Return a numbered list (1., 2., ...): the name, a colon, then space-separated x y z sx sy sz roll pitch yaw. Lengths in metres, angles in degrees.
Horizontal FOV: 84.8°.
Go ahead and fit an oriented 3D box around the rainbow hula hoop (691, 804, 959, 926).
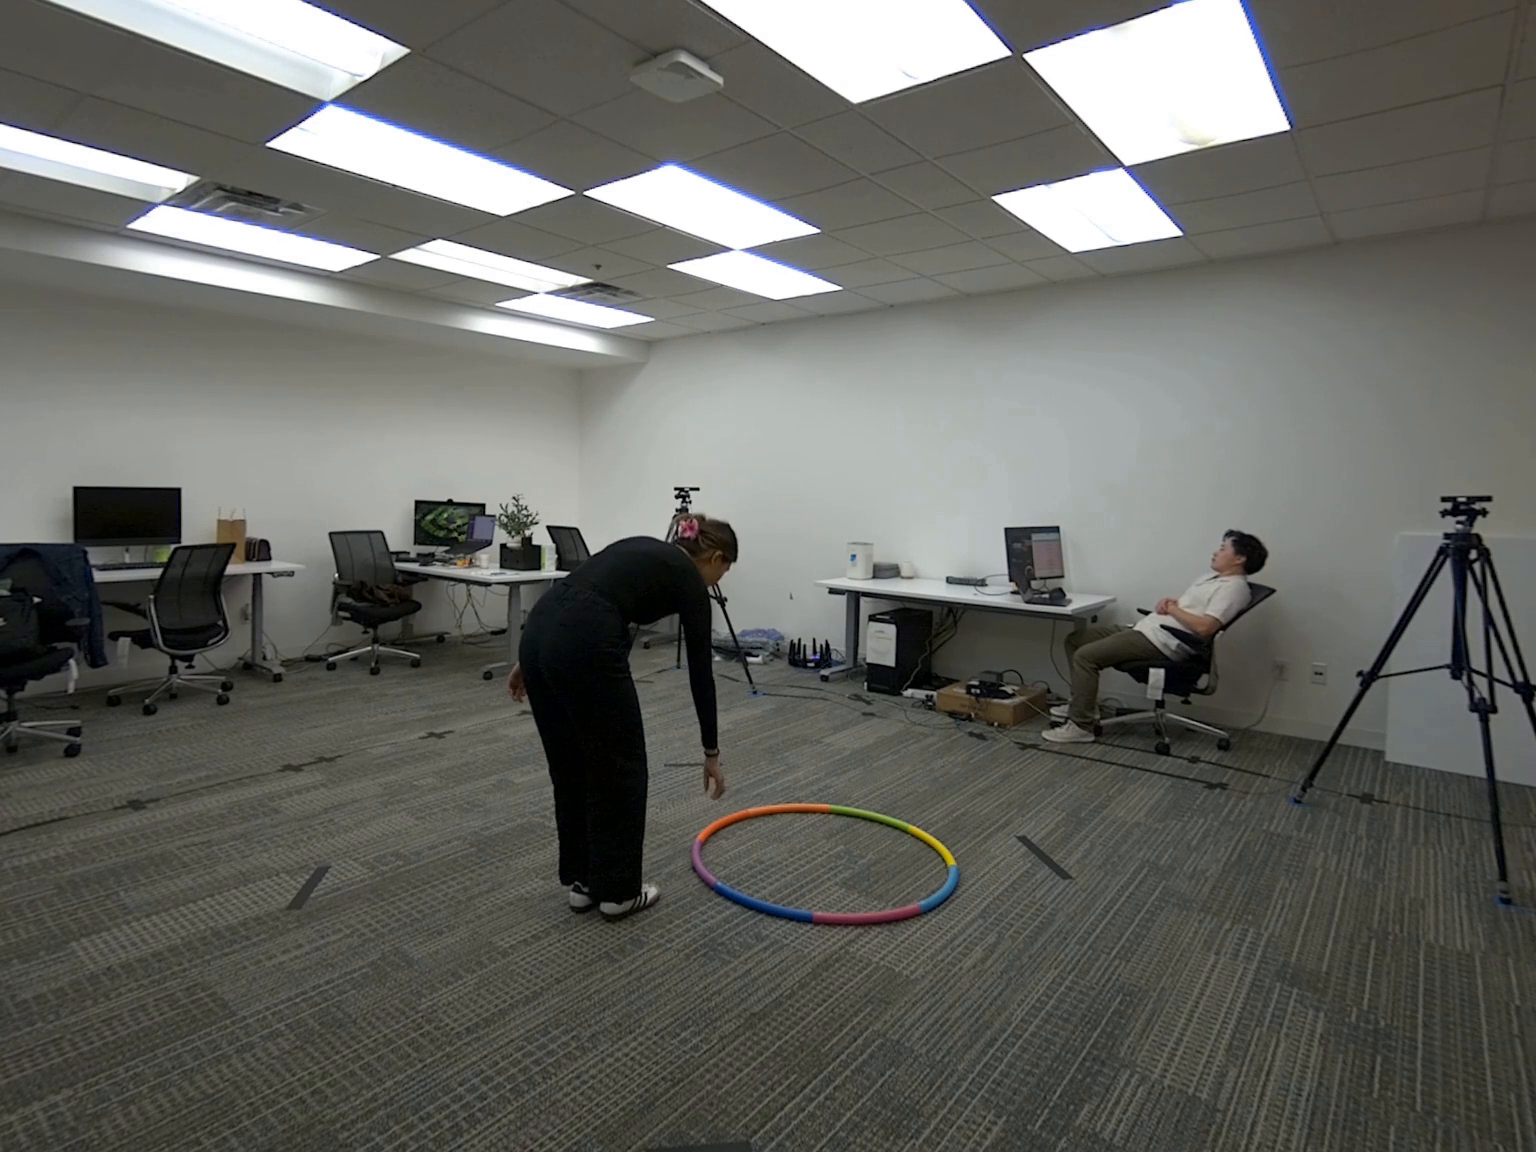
1. rainbow hula hoop: 0.195 1.035 3.201 0.978 0.035 0.984 1 6 -2
